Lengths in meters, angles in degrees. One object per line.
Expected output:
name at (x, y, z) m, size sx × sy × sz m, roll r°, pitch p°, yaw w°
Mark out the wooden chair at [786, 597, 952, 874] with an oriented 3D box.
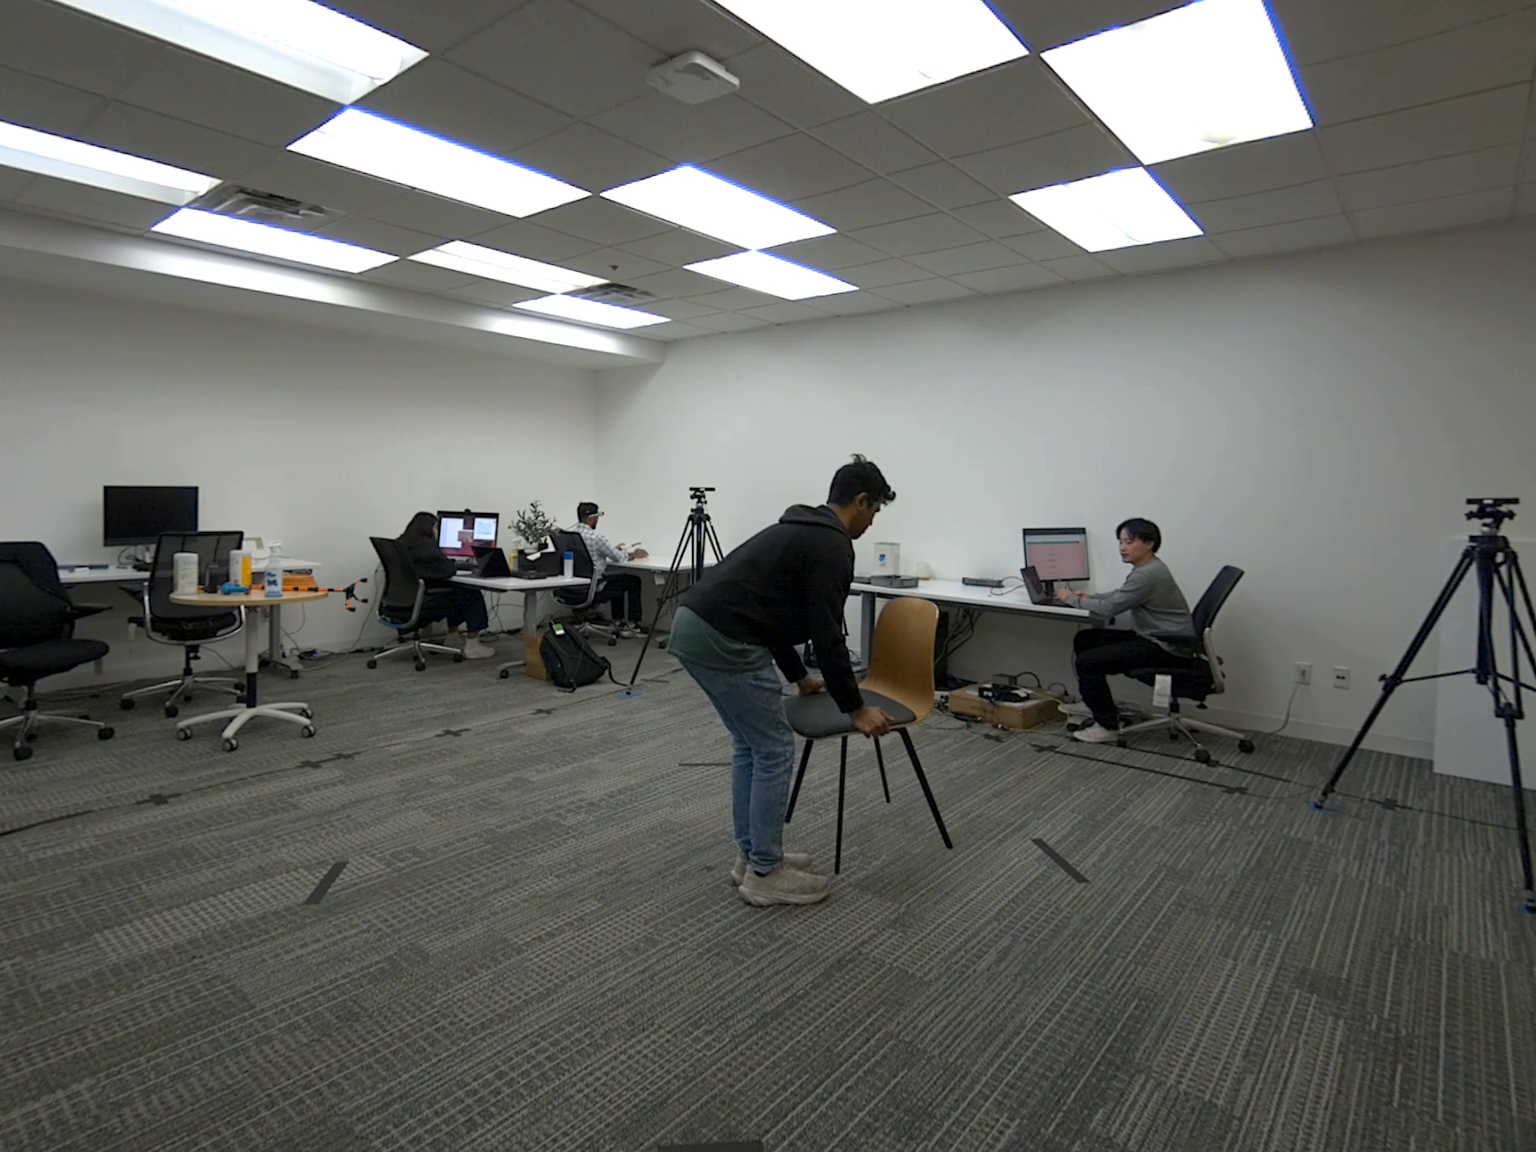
wooden chair at (0.322, 0.527, 3.074) m, size 0.513 × 0.873 × 0.490 m, roll -2°, pitch 6°, yaw -20°
